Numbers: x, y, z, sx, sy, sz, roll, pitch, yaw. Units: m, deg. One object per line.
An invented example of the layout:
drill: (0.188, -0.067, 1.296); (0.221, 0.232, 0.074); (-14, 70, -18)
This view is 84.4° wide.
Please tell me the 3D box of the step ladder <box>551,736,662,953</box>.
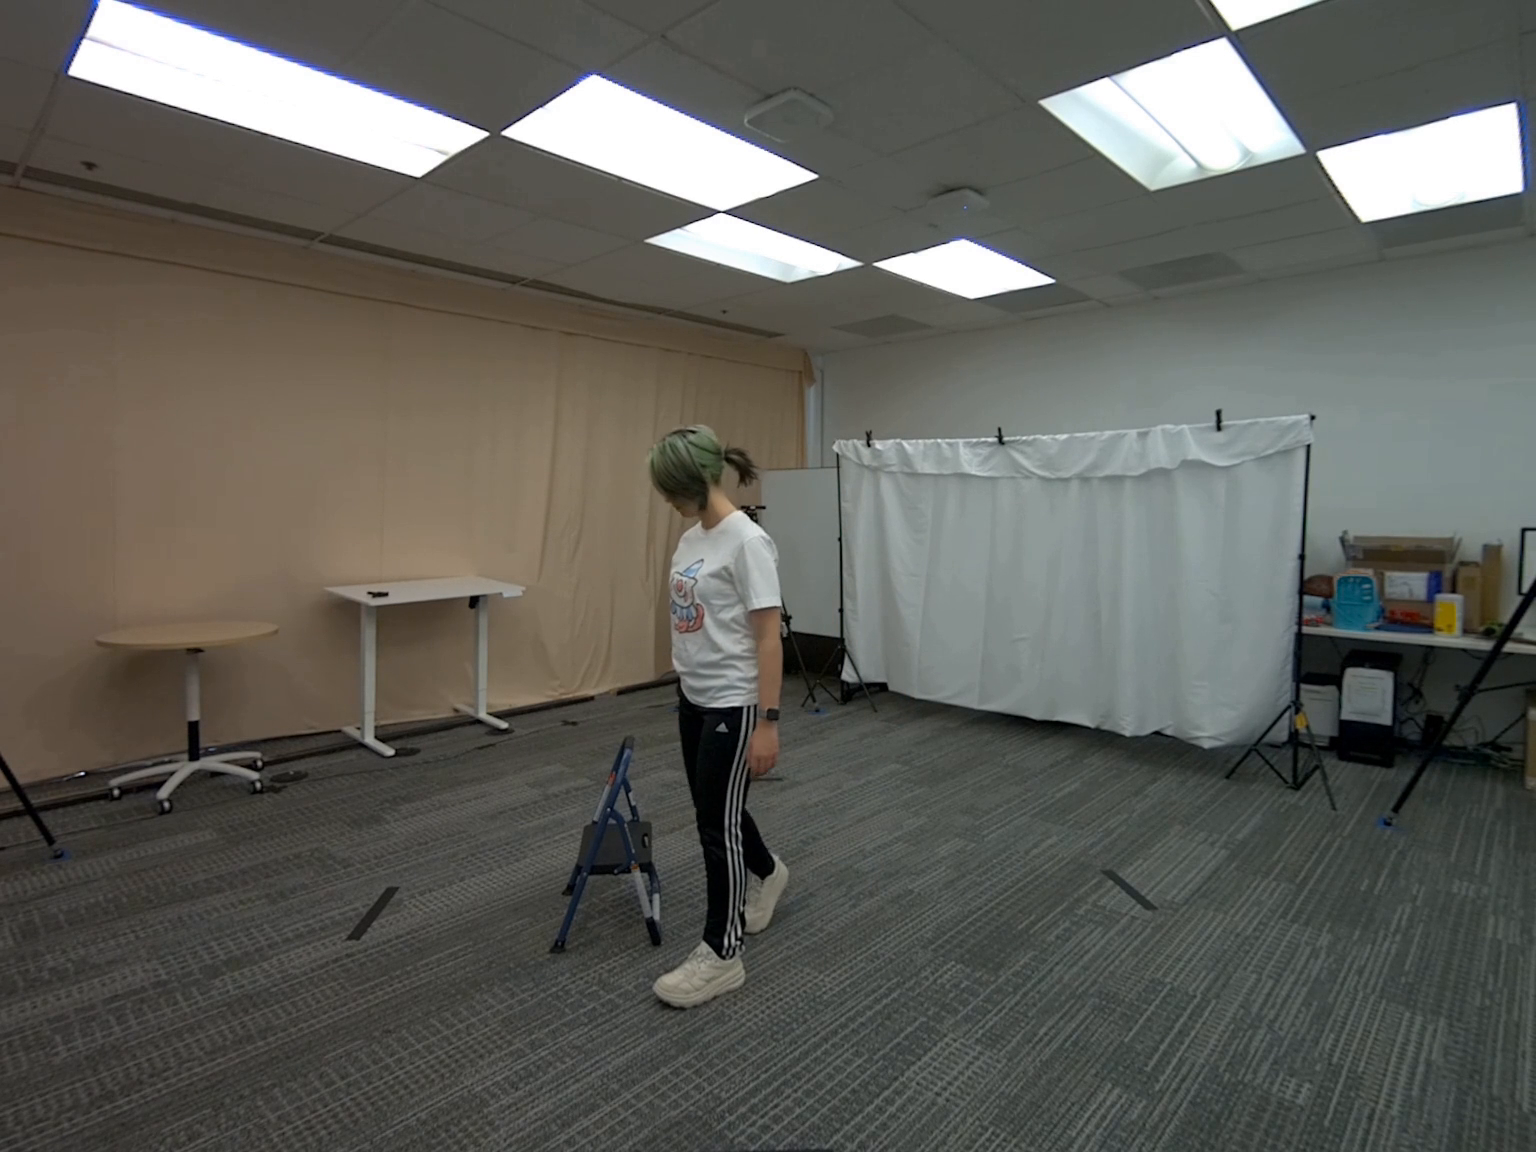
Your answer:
step ladder: (-0.539, 0.860, 2.839); (0.347, 0.604, 0.435); (-2, 4, -7)
